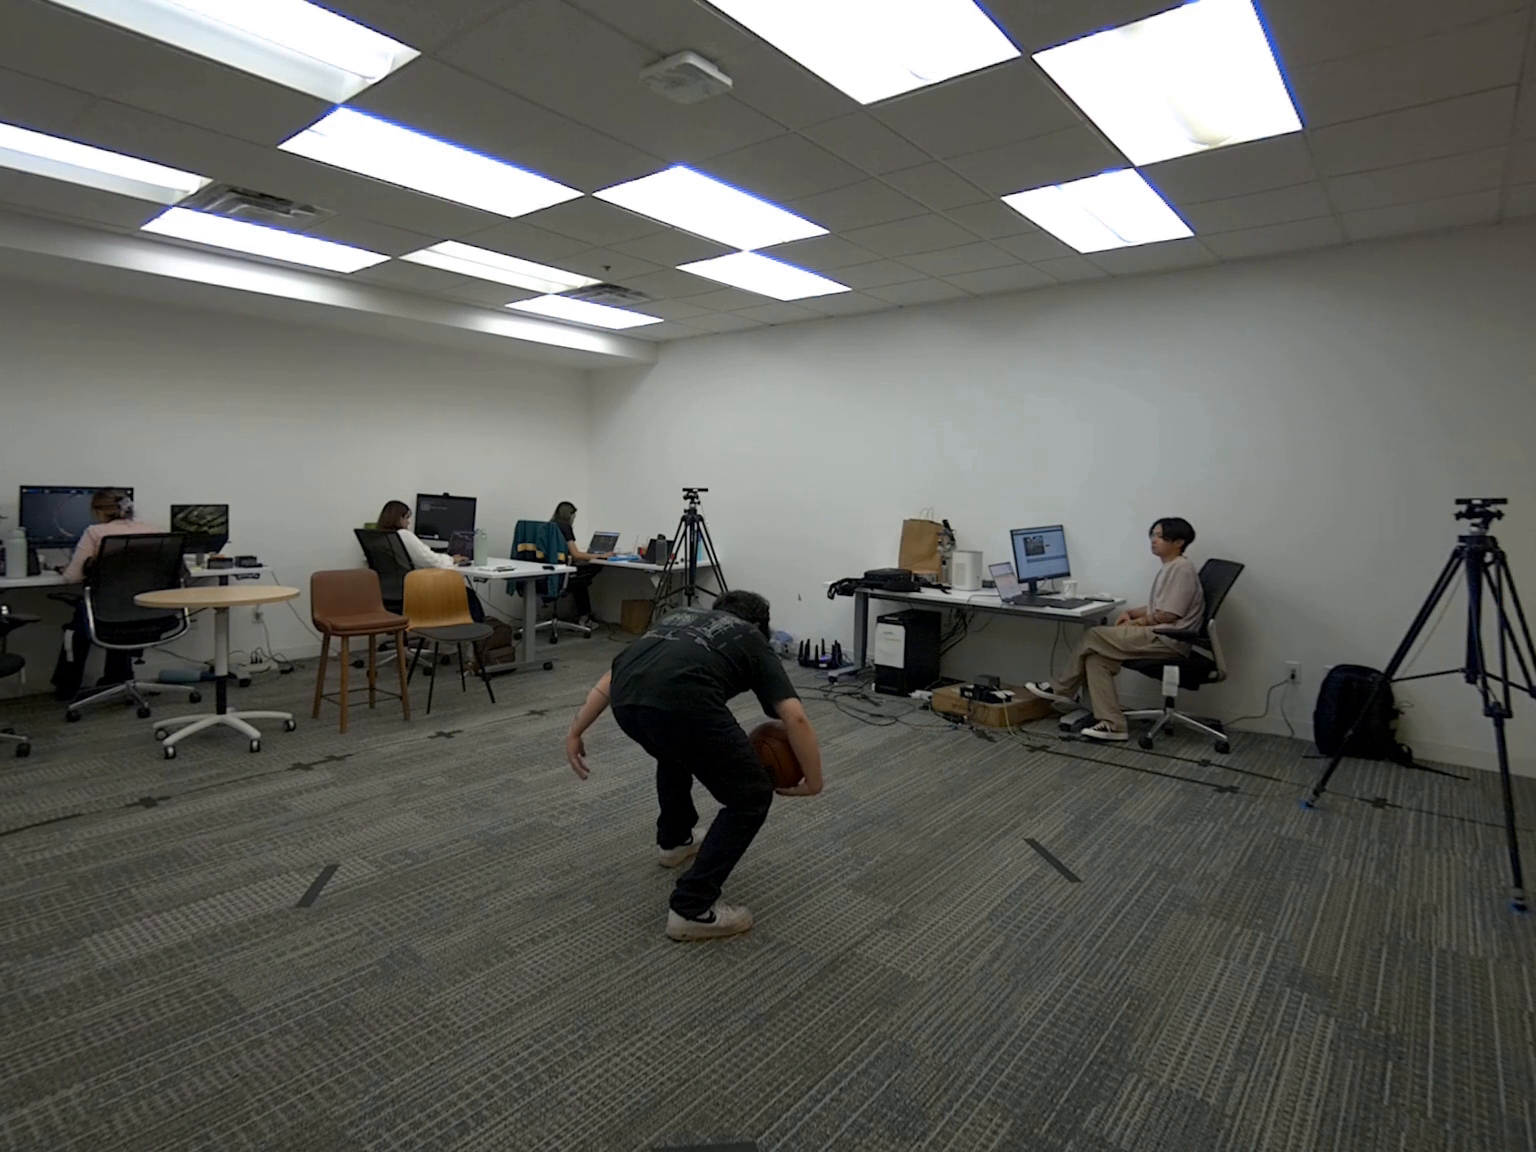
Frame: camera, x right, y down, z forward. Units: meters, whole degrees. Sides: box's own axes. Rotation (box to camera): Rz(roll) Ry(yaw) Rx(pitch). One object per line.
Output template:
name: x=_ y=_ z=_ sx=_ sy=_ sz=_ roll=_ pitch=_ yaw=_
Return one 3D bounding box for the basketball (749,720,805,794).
basketball: x=0.005 y=0.634 z=2.994 sx=0.235 sy=0.235 sz=0.237 roll=1 pitch=4 yaw=-2
